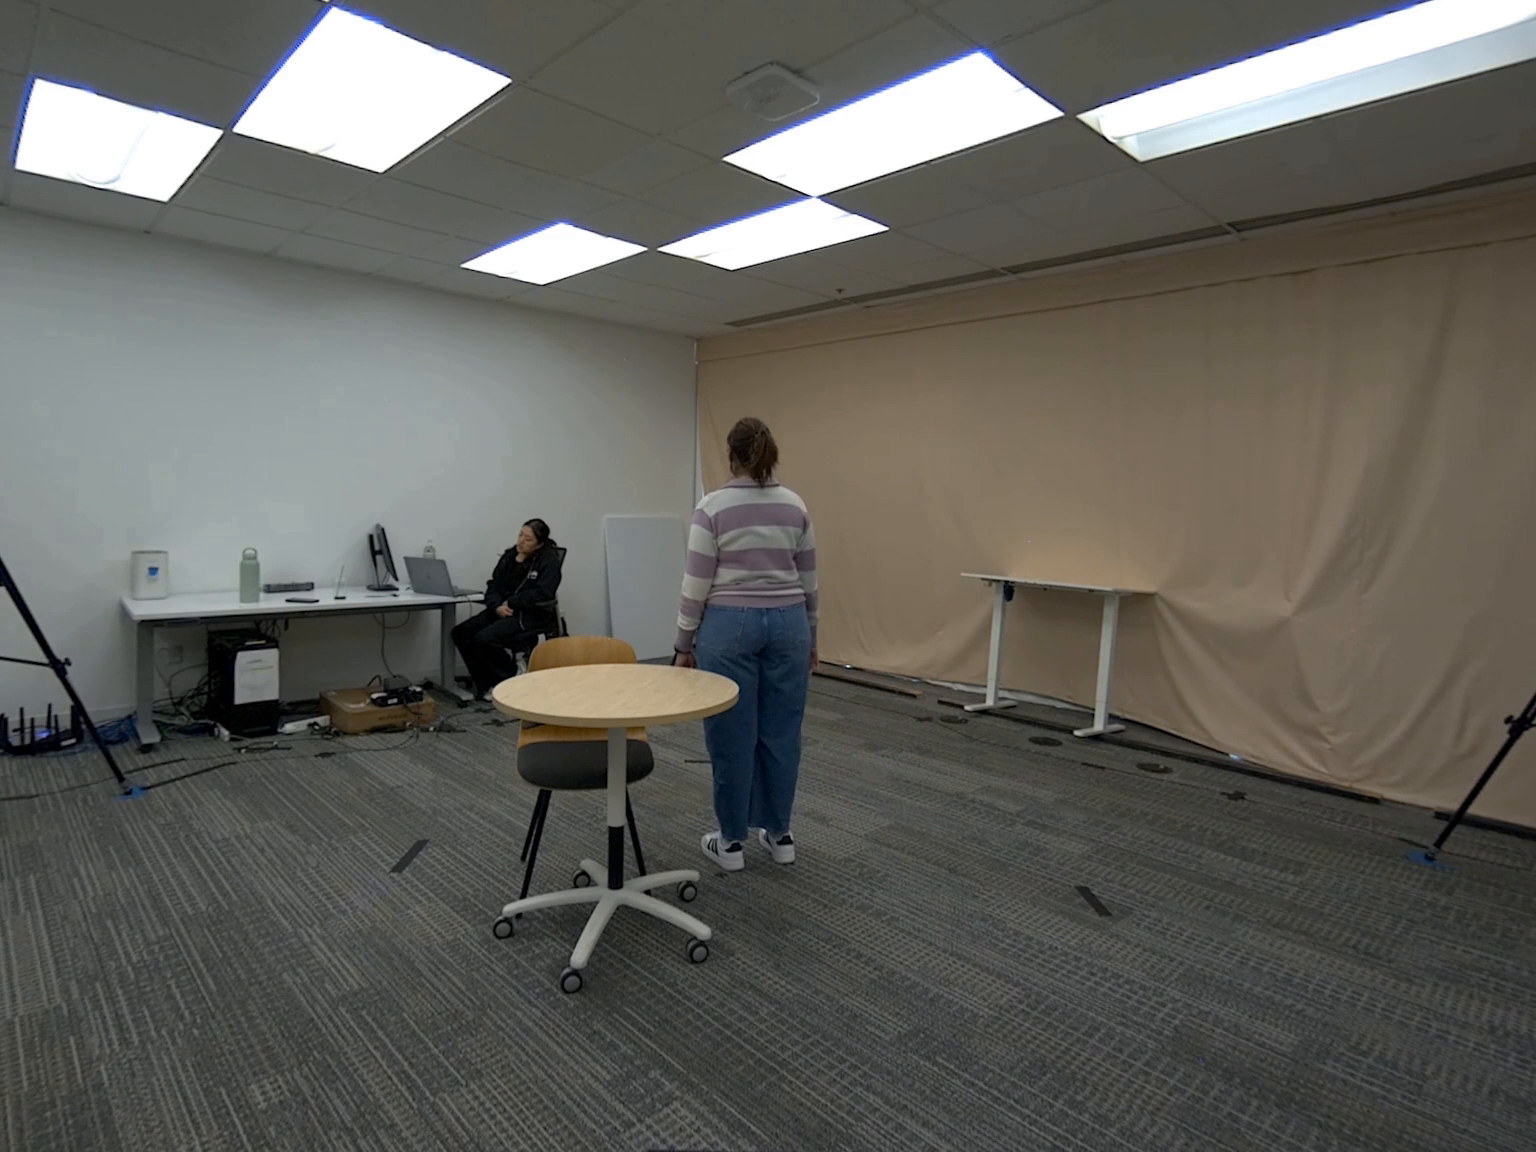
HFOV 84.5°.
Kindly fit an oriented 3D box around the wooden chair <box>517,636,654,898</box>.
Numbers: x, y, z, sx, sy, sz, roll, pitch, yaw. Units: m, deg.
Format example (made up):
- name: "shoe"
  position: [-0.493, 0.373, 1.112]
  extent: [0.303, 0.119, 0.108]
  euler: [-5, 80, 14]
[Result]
- name: "wooden chair"
  position: [-0.649, 0.677, 2.971]
  extent: [0.473, 0.878, 0.529]
  euler: [1, 0, -14]
